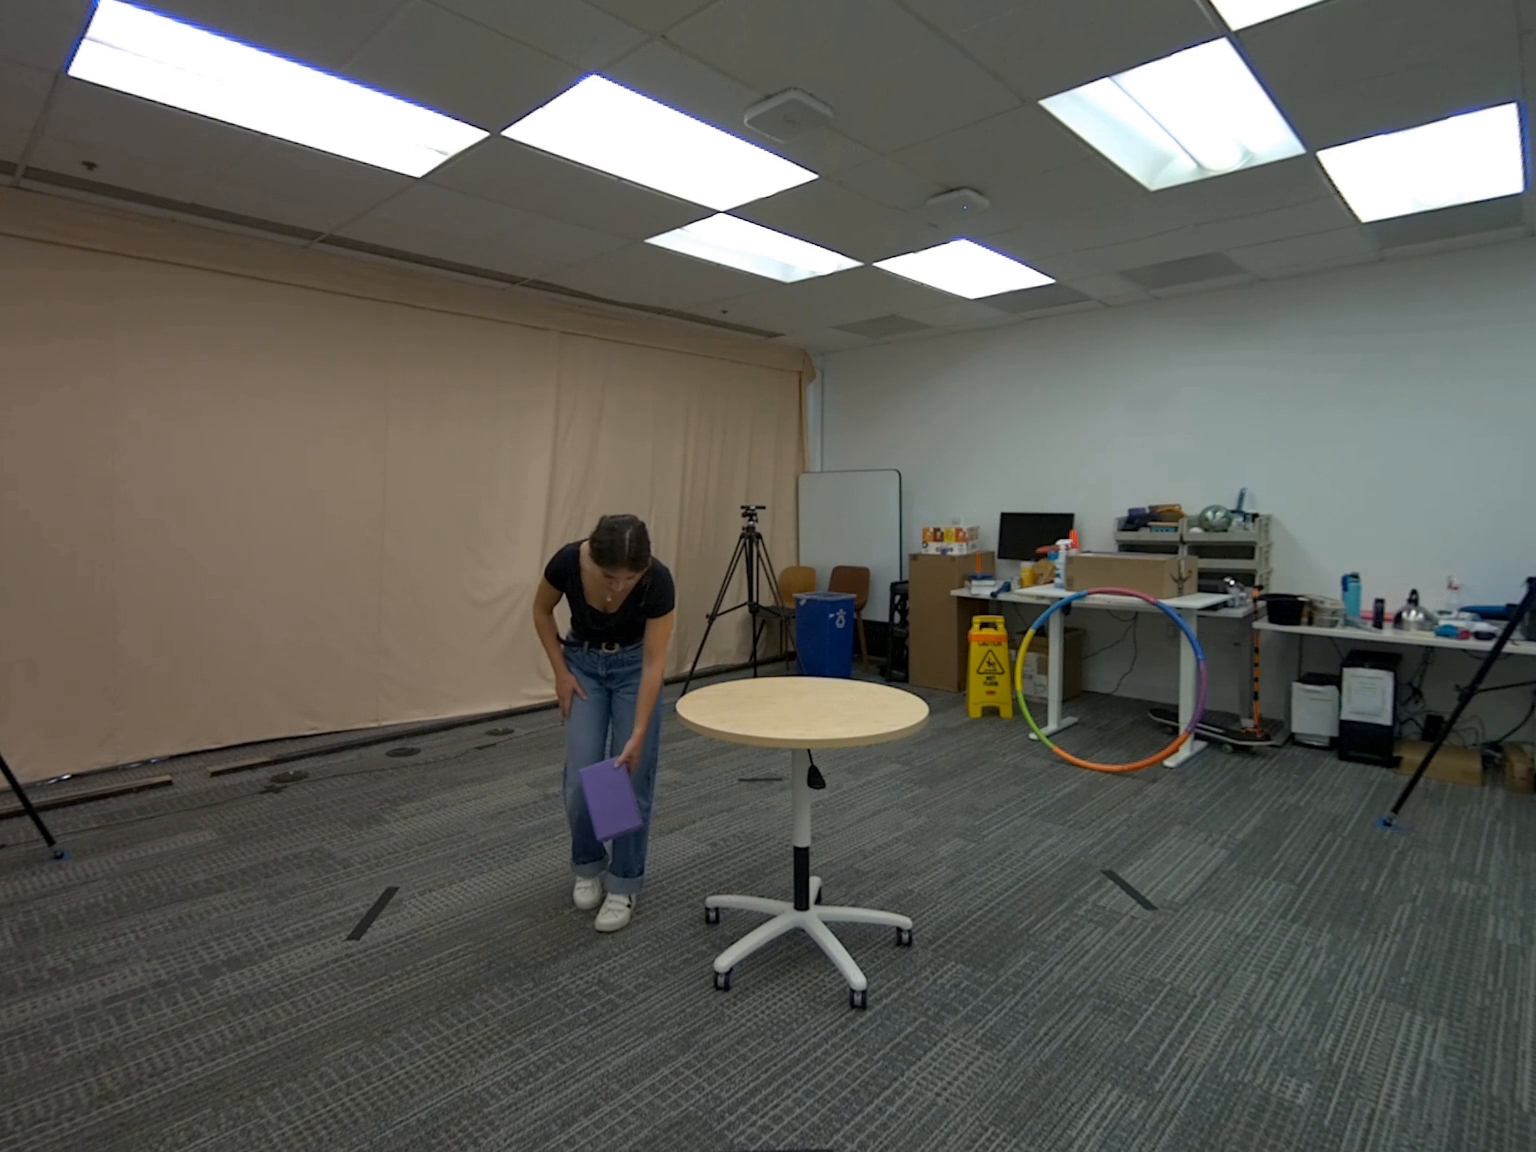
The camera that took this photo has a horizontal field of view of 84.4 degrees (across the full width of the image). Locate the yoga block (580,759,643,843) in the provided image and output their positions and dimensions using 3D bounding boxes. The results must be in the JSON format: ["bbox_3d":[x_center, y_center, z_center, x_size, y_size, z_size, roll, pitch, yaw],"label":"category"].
[{"bbox_3d":[-0.492,0.698,2.654,0.148,0.233,0.075,-10,-21,-5],"label":"yoga block"}]
